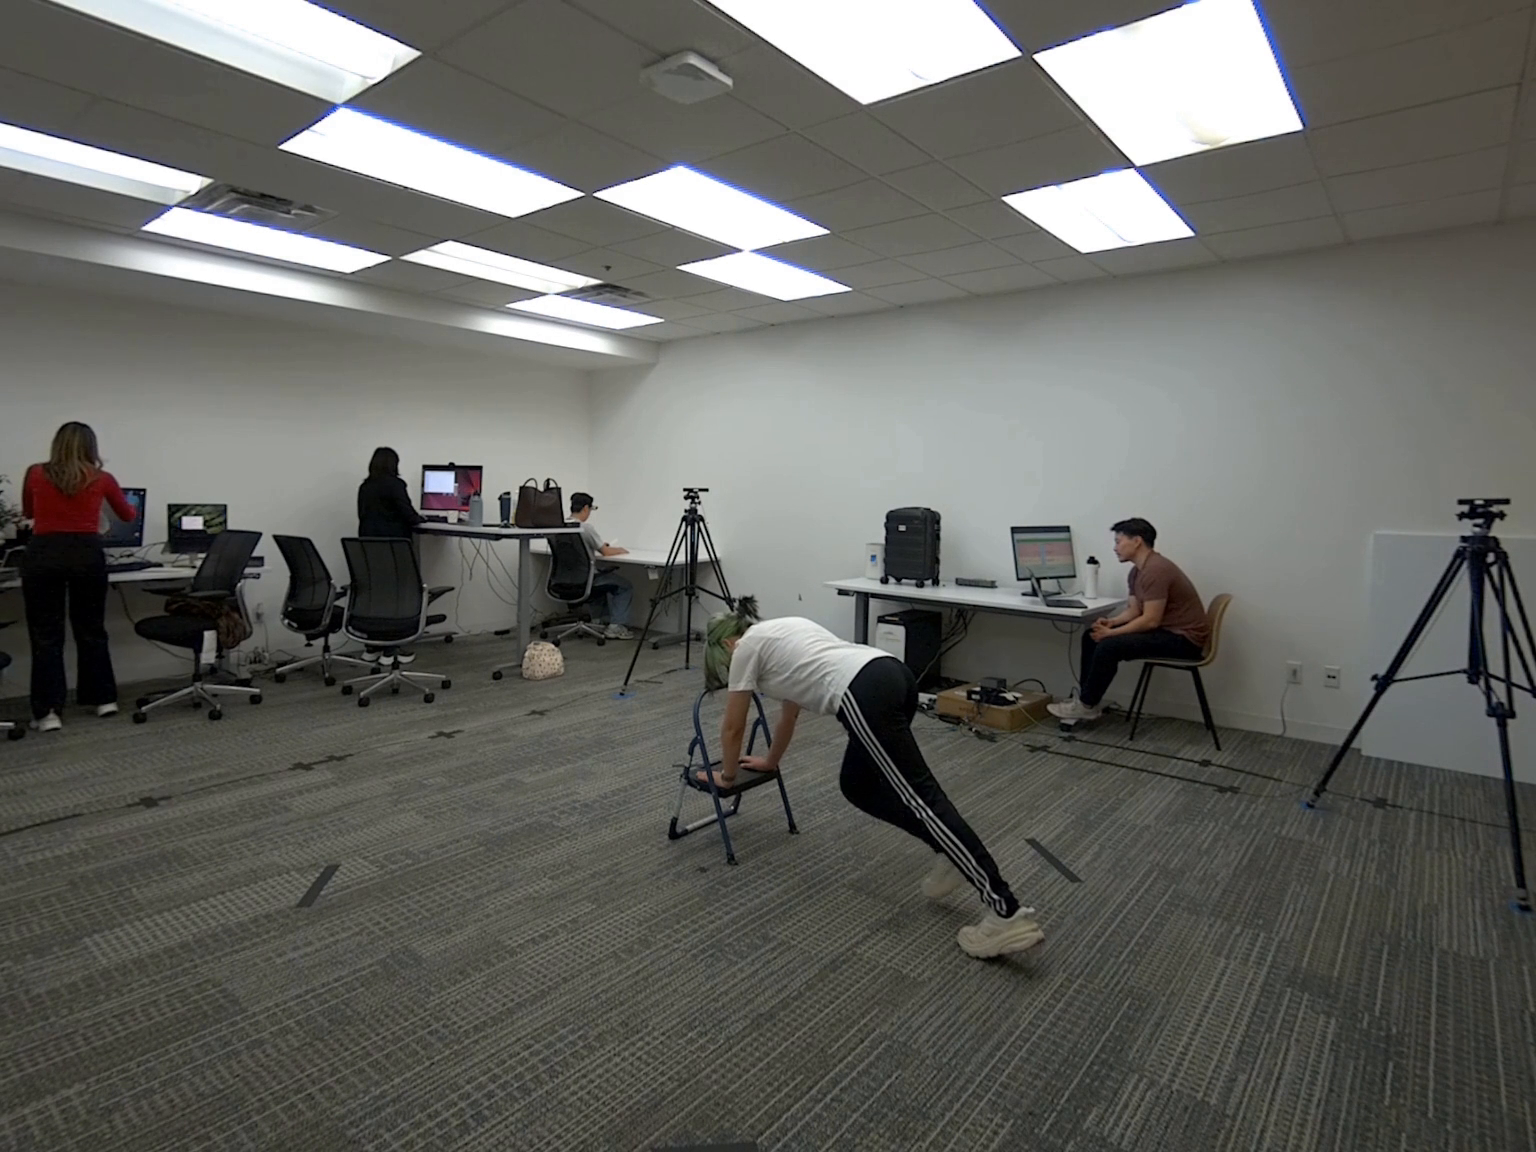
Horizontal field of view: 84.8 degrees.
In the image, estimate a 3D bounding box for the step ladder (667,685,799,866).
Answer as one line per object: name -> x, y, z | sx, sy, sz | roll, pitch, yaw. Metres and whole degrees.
step ladder -> -0.142, 0.740, 3.403 | 0.361, 0.604, 0.418 | 4, 4, 38
